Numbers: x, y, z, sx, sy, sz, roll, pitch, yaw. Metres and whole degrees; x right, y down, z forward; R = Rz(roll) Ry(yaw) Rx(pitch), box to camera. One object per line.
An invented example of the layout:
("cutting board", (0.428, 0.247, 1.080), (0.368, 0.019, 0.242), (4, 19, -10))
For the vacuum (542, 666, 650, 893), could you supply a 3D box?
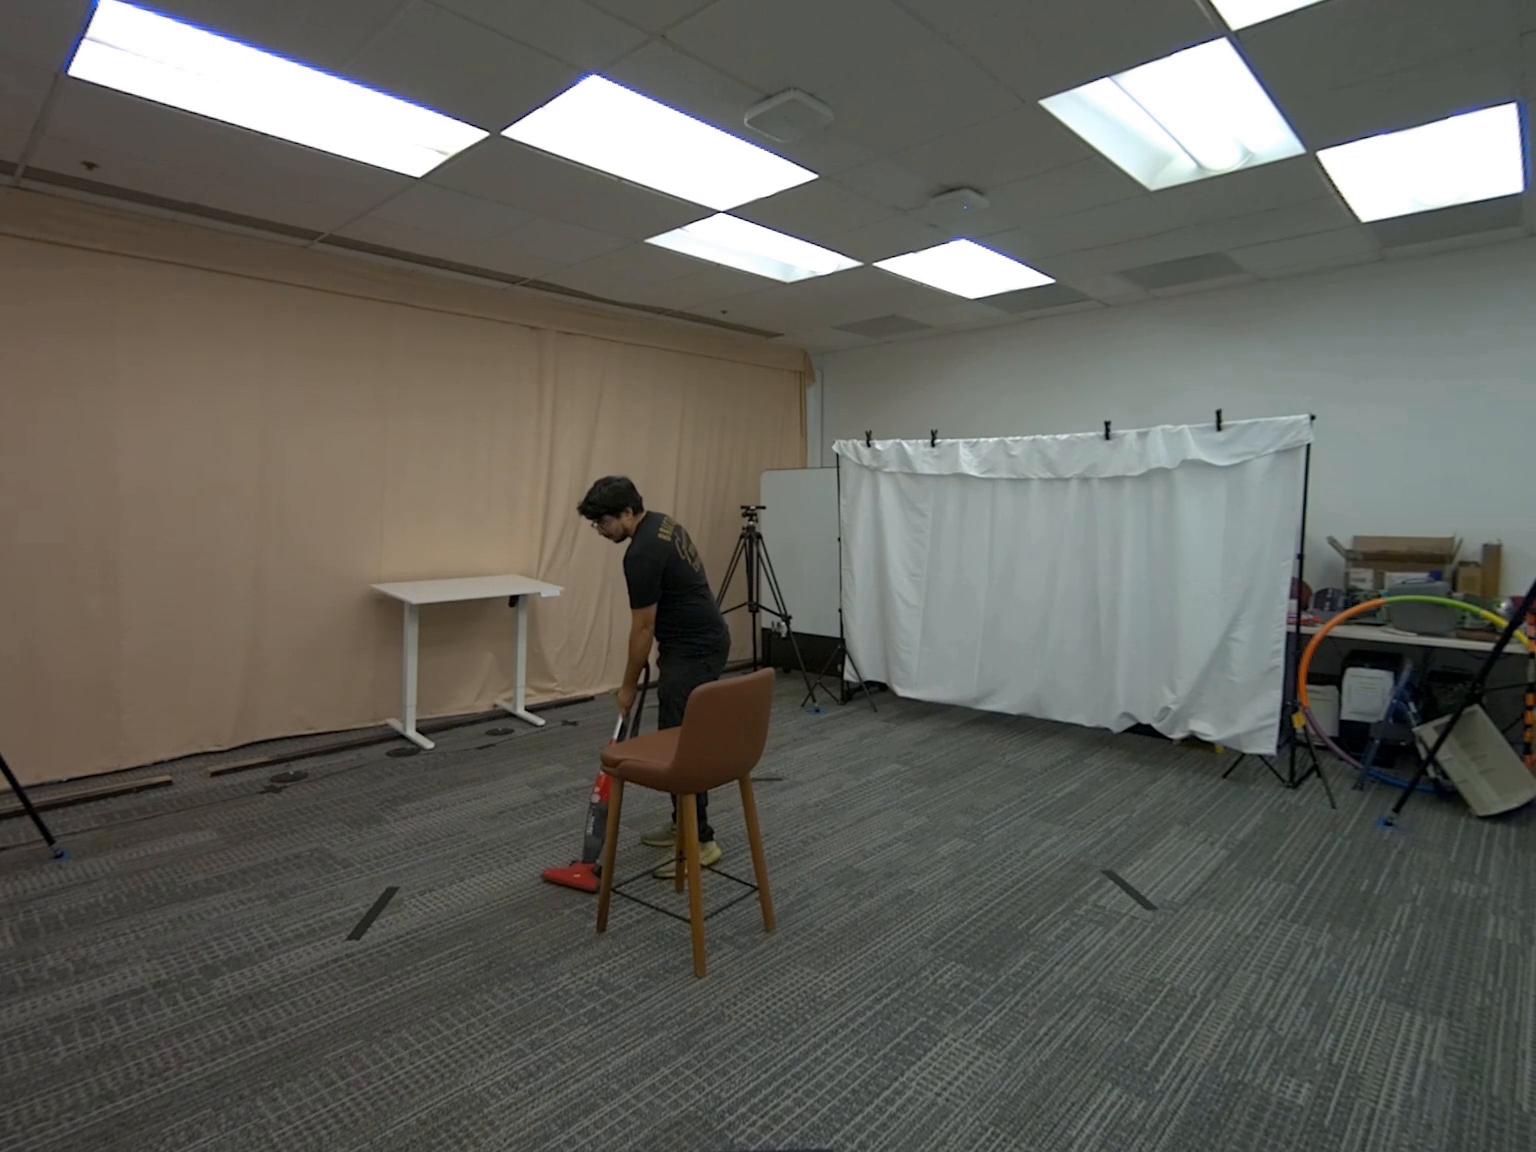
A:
("vacuum", (-0.609, 0.675, 3.354), (0.259, 1.058, 0.139), (-1, -28, 25))
